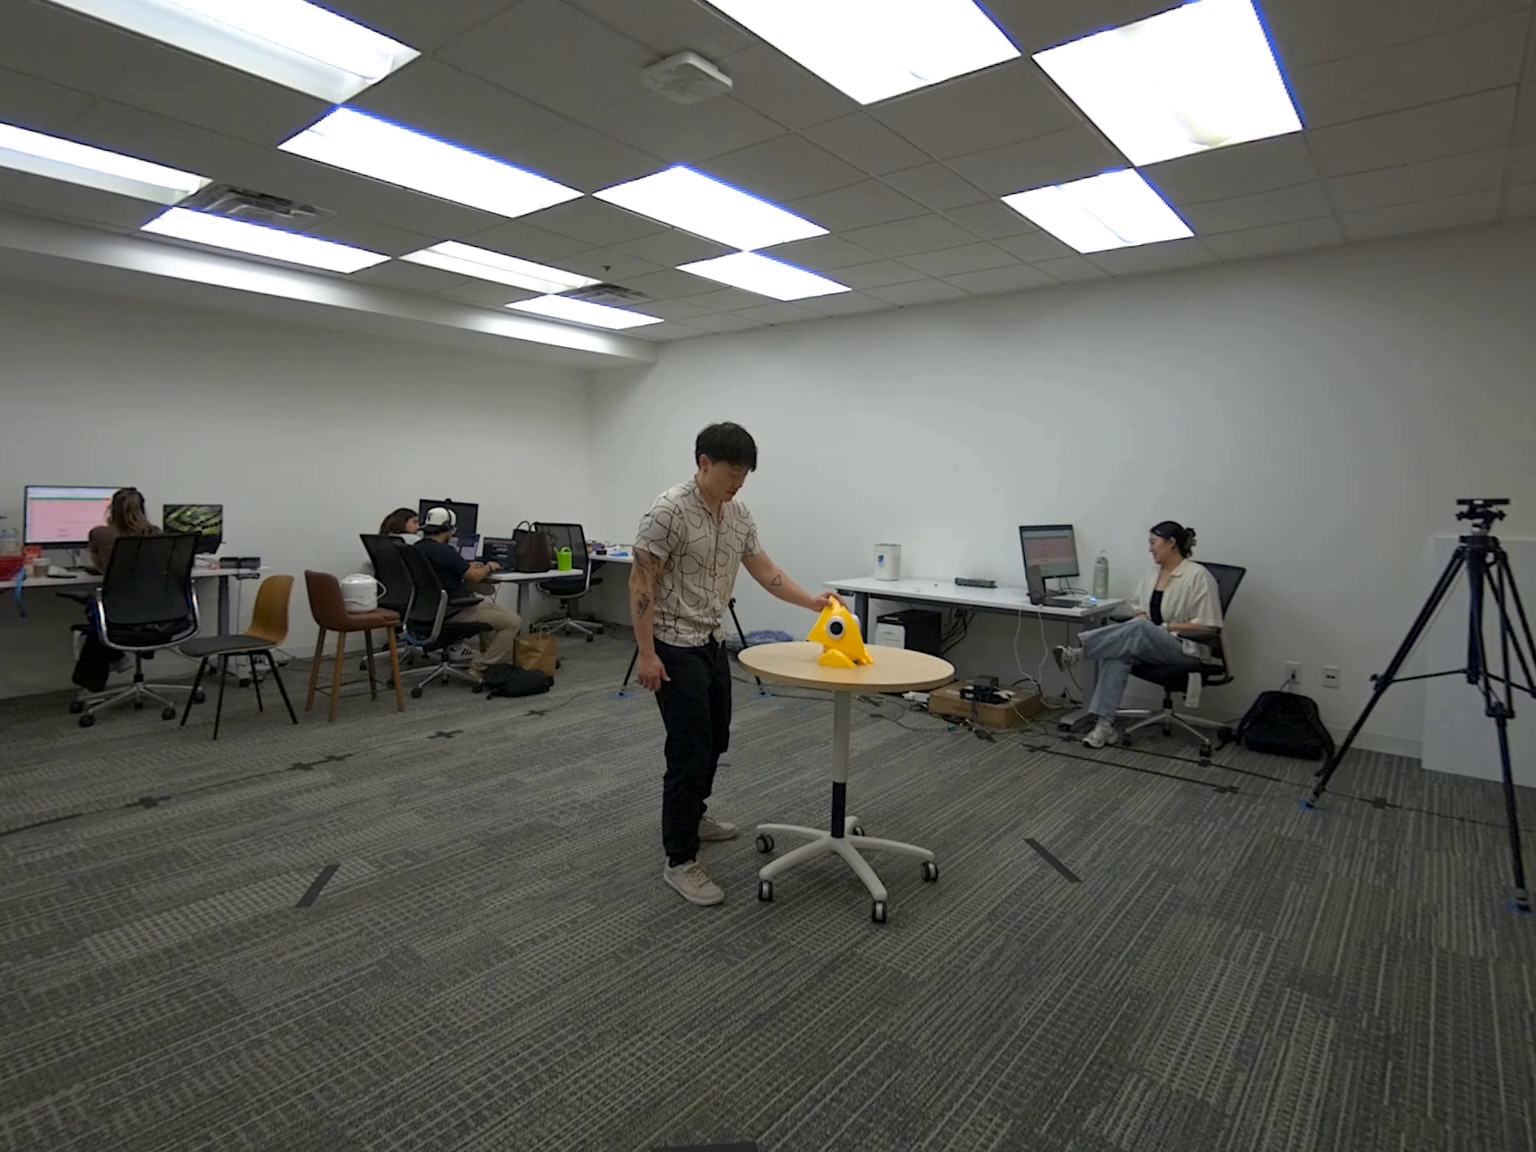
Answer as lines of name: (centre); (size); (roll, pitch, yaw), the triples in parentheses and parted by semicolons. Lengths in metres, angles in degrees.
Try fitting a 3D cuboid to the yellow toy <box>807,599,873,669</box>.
yellow toy: (0.263, 0.194, 3.019); (0.199, 0.230, 0.198); (4, 4, 41)
